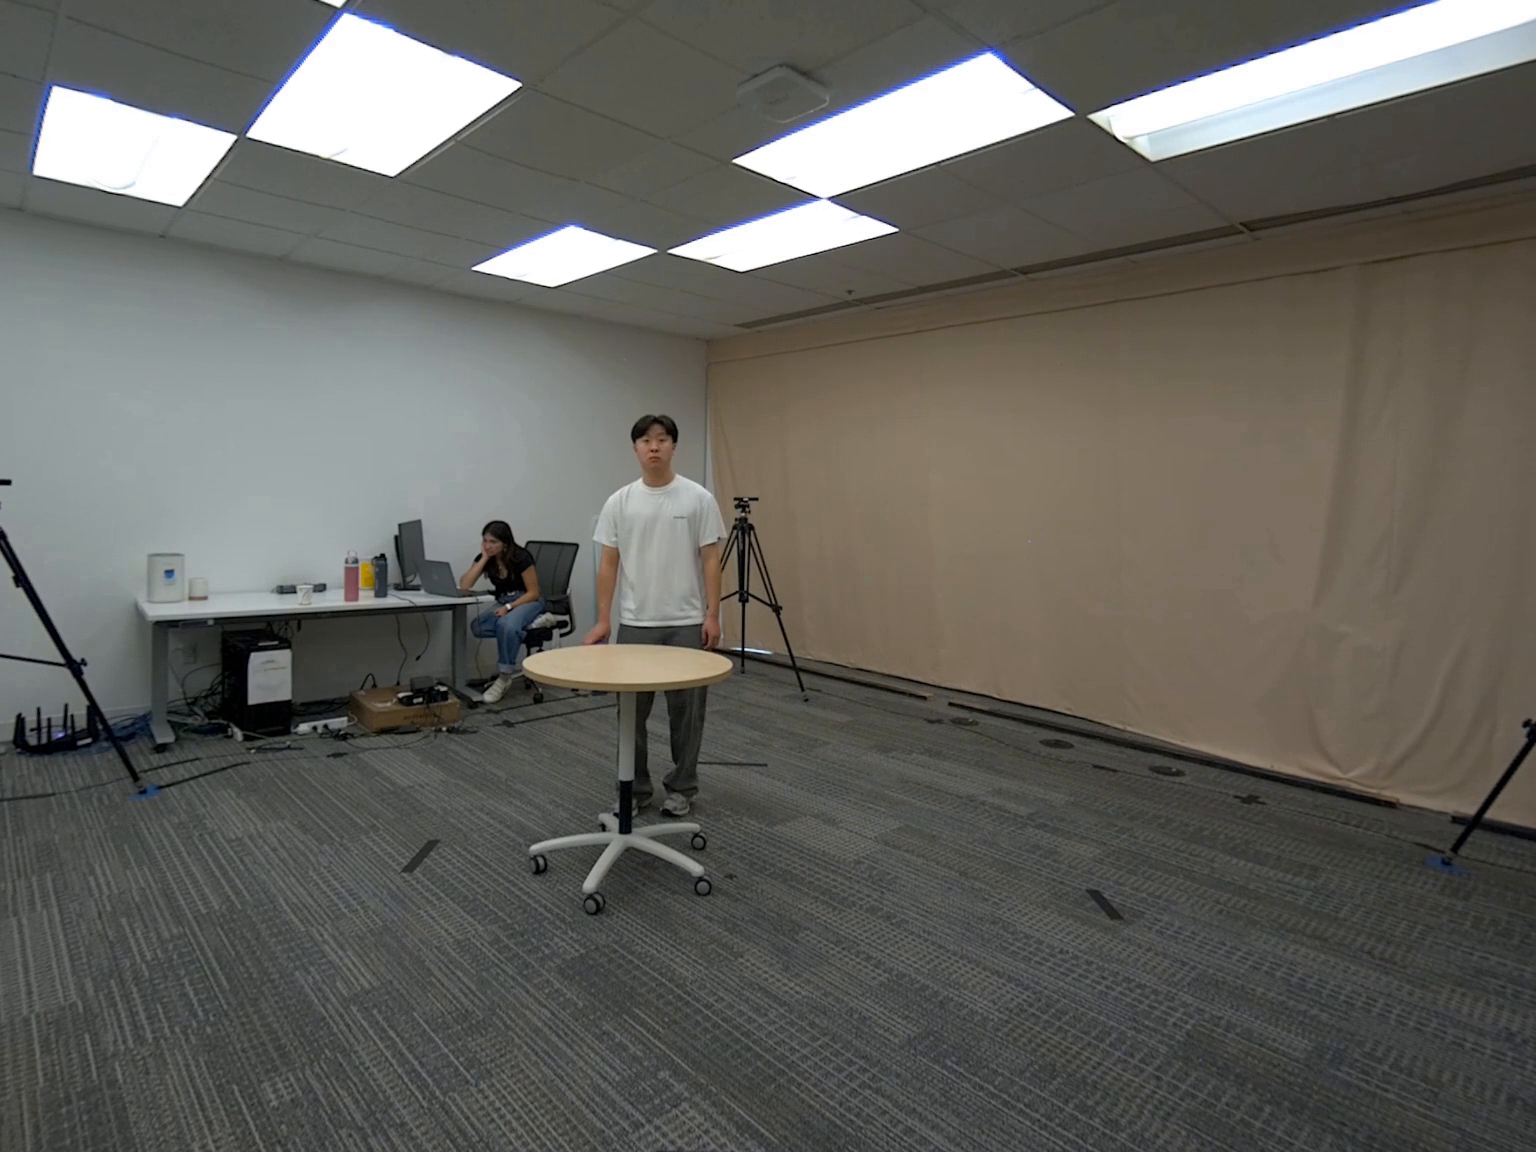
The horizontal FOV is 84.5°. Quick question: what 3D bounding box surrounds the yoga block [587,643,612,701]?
[{"bbox_3d":[-0.736,0.395,3.677,0.075,0.226,0.152,-6,19,-15],"label":"yoga block"}]
